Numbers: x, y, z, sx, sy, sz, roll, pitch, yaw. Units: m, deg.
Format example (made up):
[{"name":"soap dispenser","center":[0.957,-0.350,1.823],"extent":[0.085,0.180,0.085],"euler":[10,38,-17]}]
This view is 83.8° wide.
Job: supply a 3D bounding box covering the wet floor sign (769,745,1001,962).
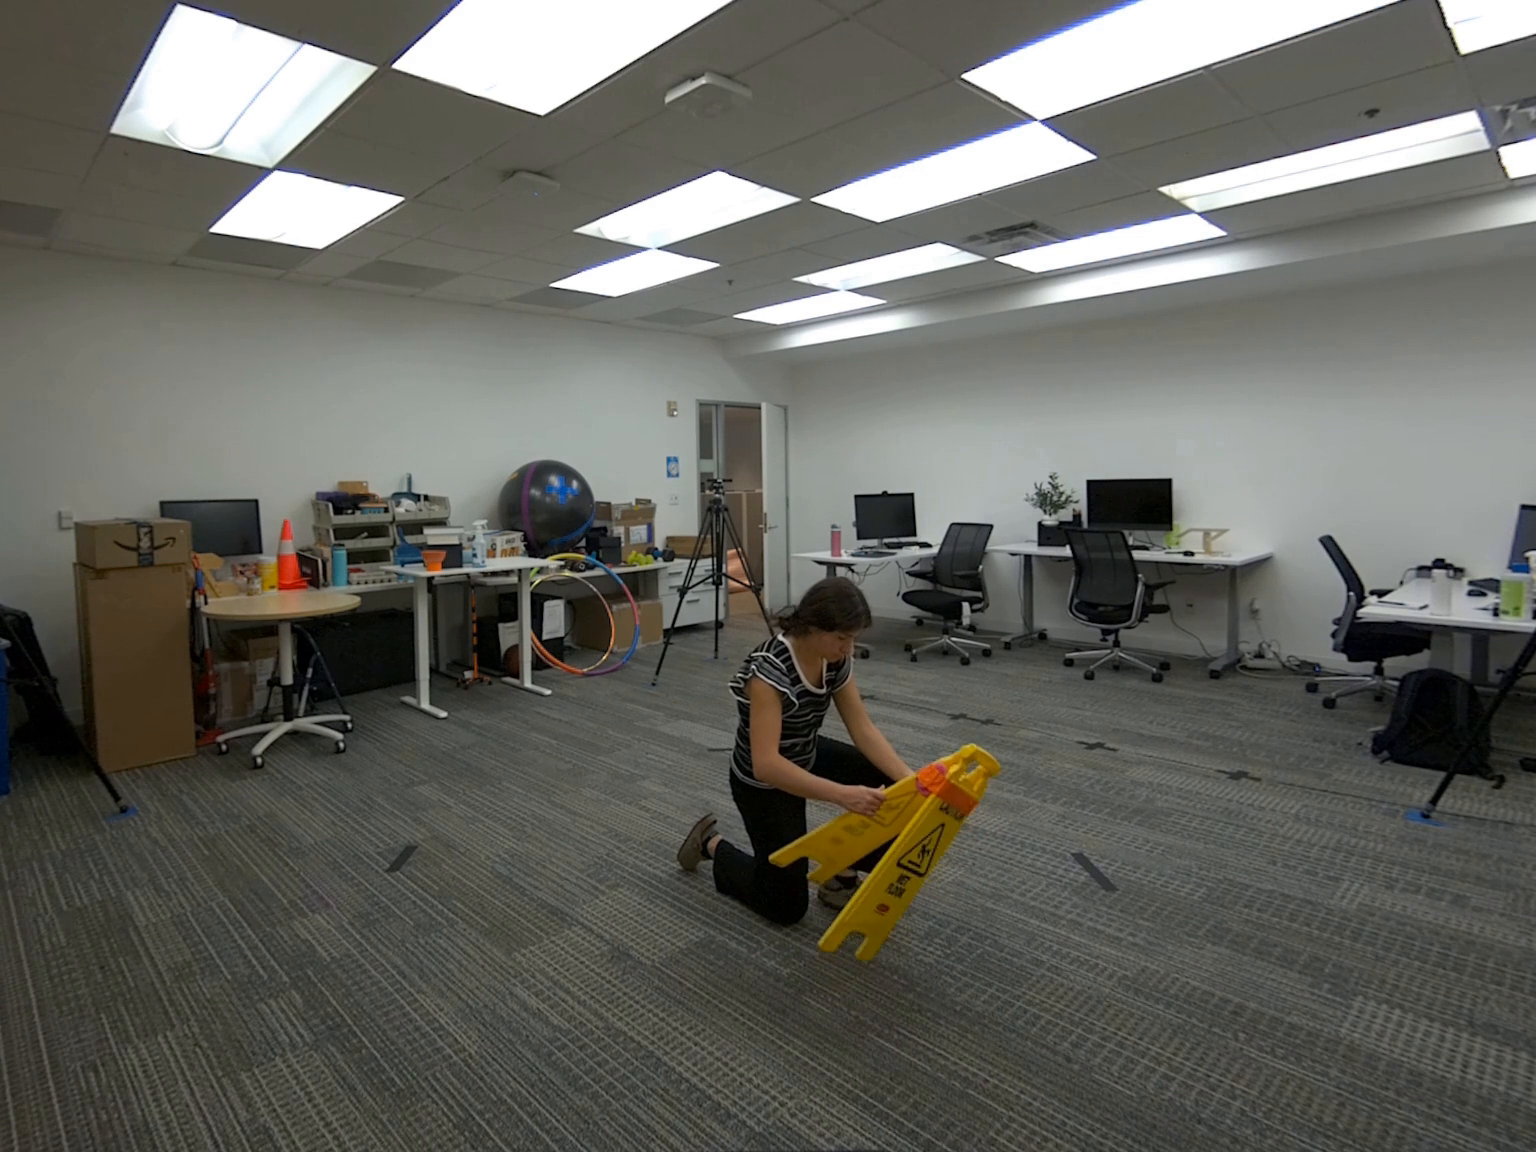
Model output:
[{"name":"wet floor sign","center":[0.370,0.715,2.334],"extent":[0.271,0.646,0.301],"euler":[38,9,-45]}]
